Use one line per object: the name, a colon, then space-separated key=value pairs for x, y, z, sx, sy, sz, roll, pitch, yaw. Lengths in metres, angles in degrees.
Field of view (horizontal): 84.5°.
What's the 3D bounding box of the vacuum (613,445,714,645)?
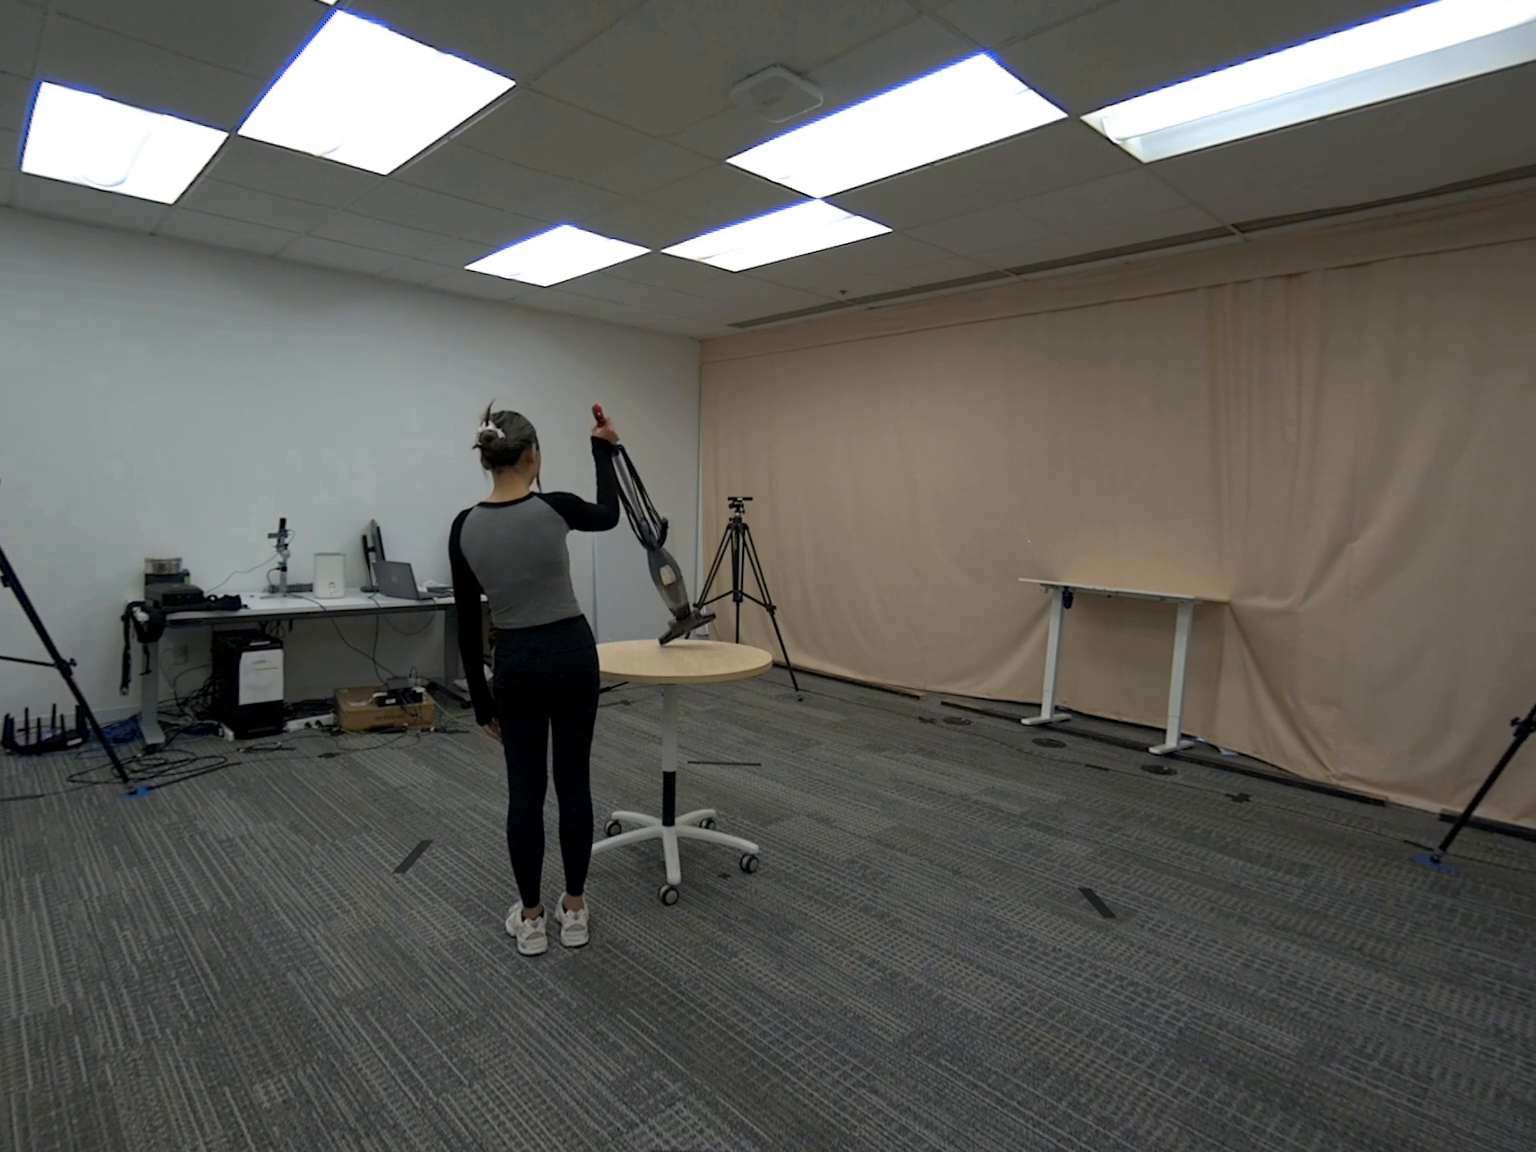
vacuum: x=-0.440 y=-0.168 z=3.040 sx=0.251 sy=1.021 sz=0.148 roll=-36 pitch=46 yaw=-24
